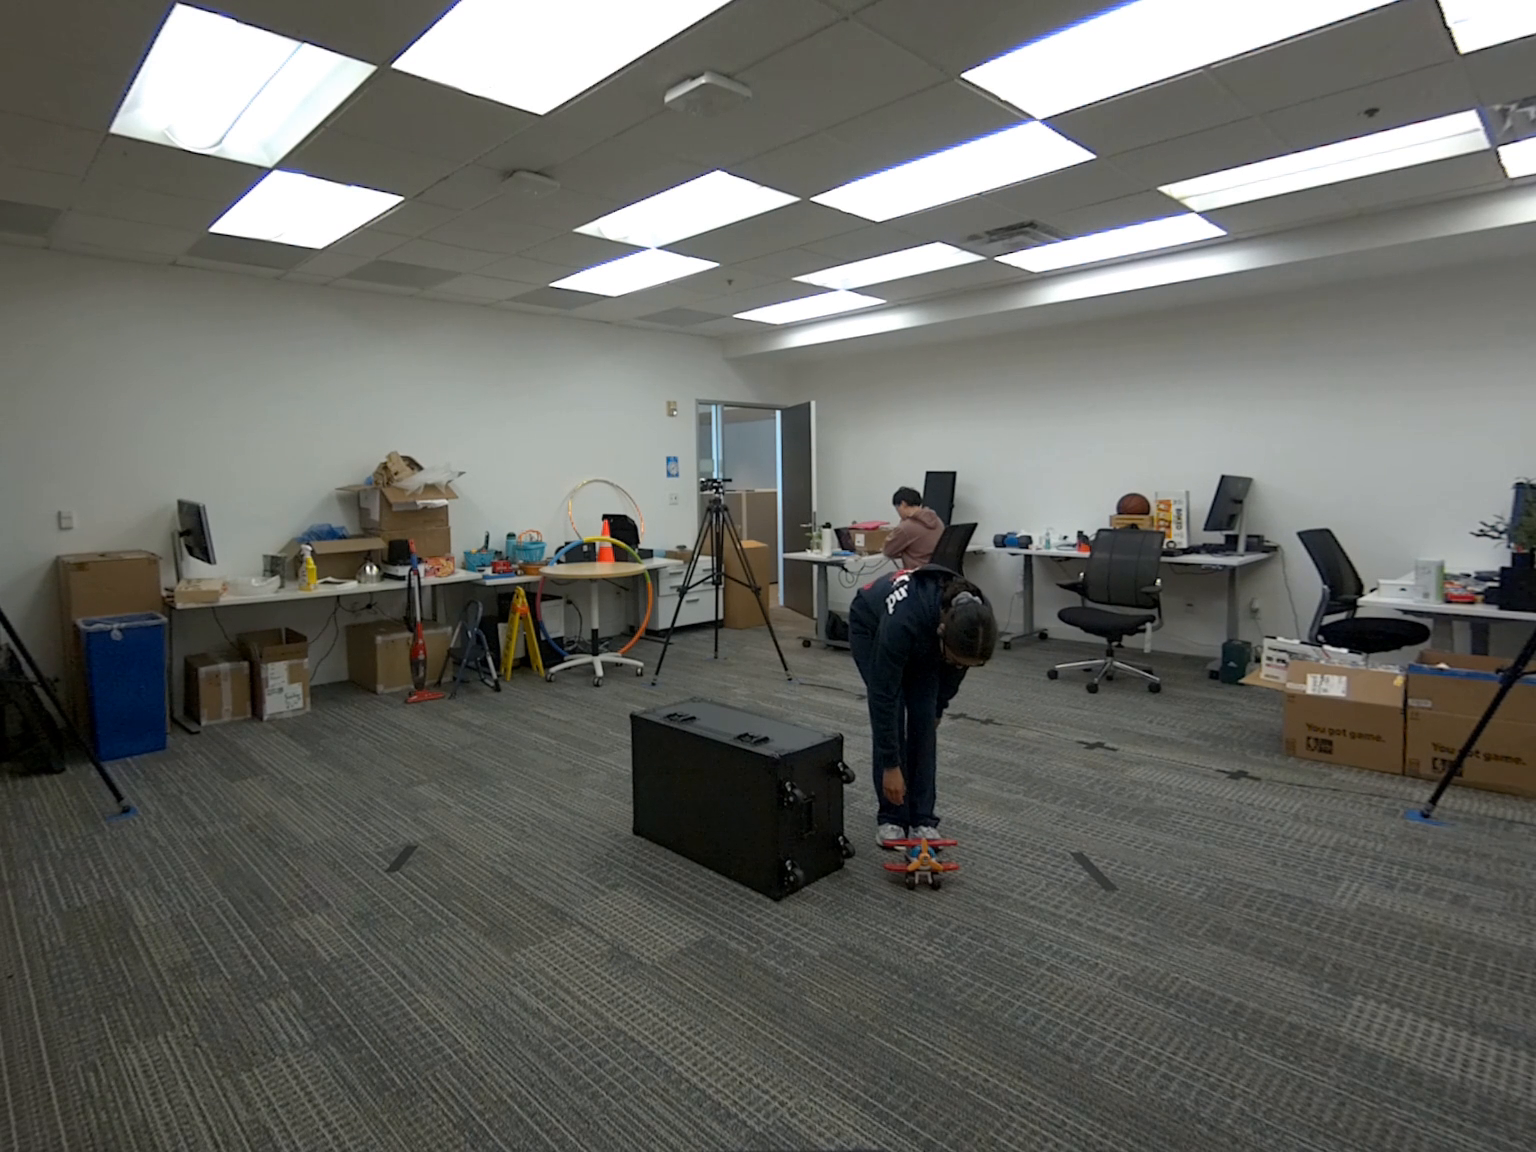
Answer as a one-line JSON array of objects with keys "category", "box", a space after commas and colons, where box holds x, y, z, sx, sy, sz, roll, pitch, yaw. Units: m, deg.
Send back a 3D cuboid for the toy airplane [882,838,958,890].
[{"category": "toy airplane", "box": [0.504, 0.978, 2.958, 0.246, 0.156, 0.265, -5, 5, -23]}]
